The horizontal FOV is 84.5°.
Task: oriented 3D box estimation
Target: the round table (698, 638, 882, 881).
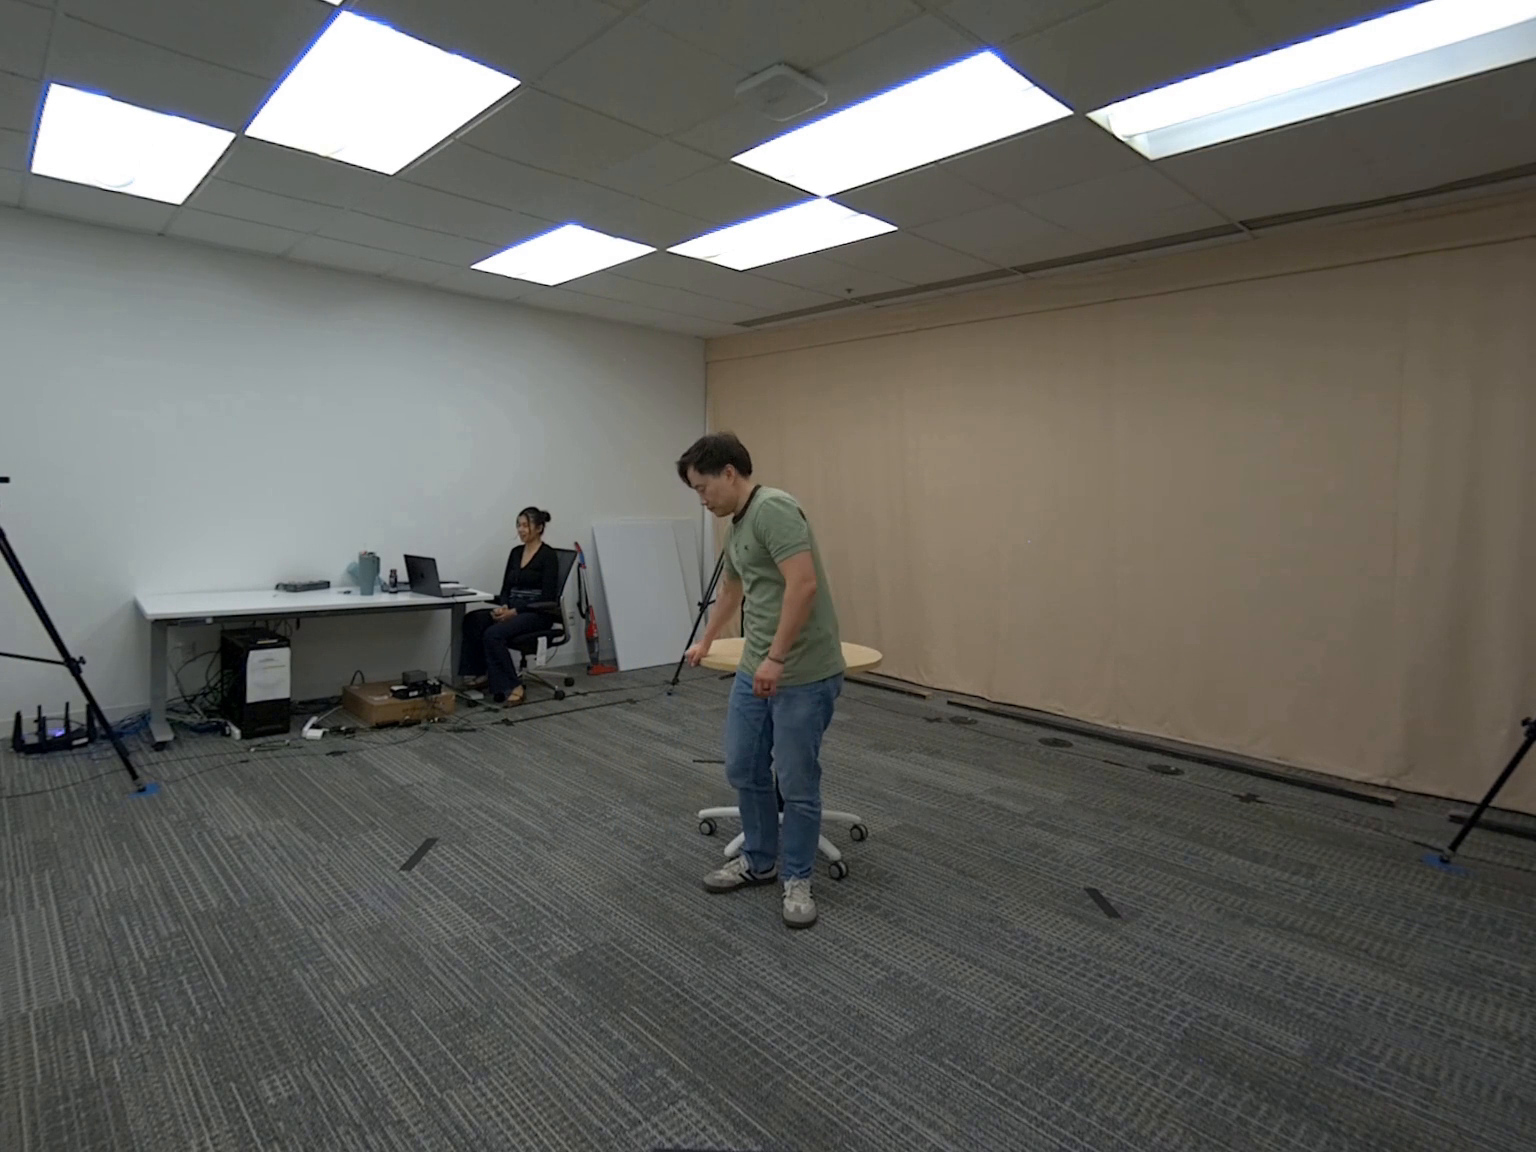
[{"bbox_3d":[0.046,0.695,3.370,0.763,0.792,0.766,1,3,-1],"label":"round table"}]
